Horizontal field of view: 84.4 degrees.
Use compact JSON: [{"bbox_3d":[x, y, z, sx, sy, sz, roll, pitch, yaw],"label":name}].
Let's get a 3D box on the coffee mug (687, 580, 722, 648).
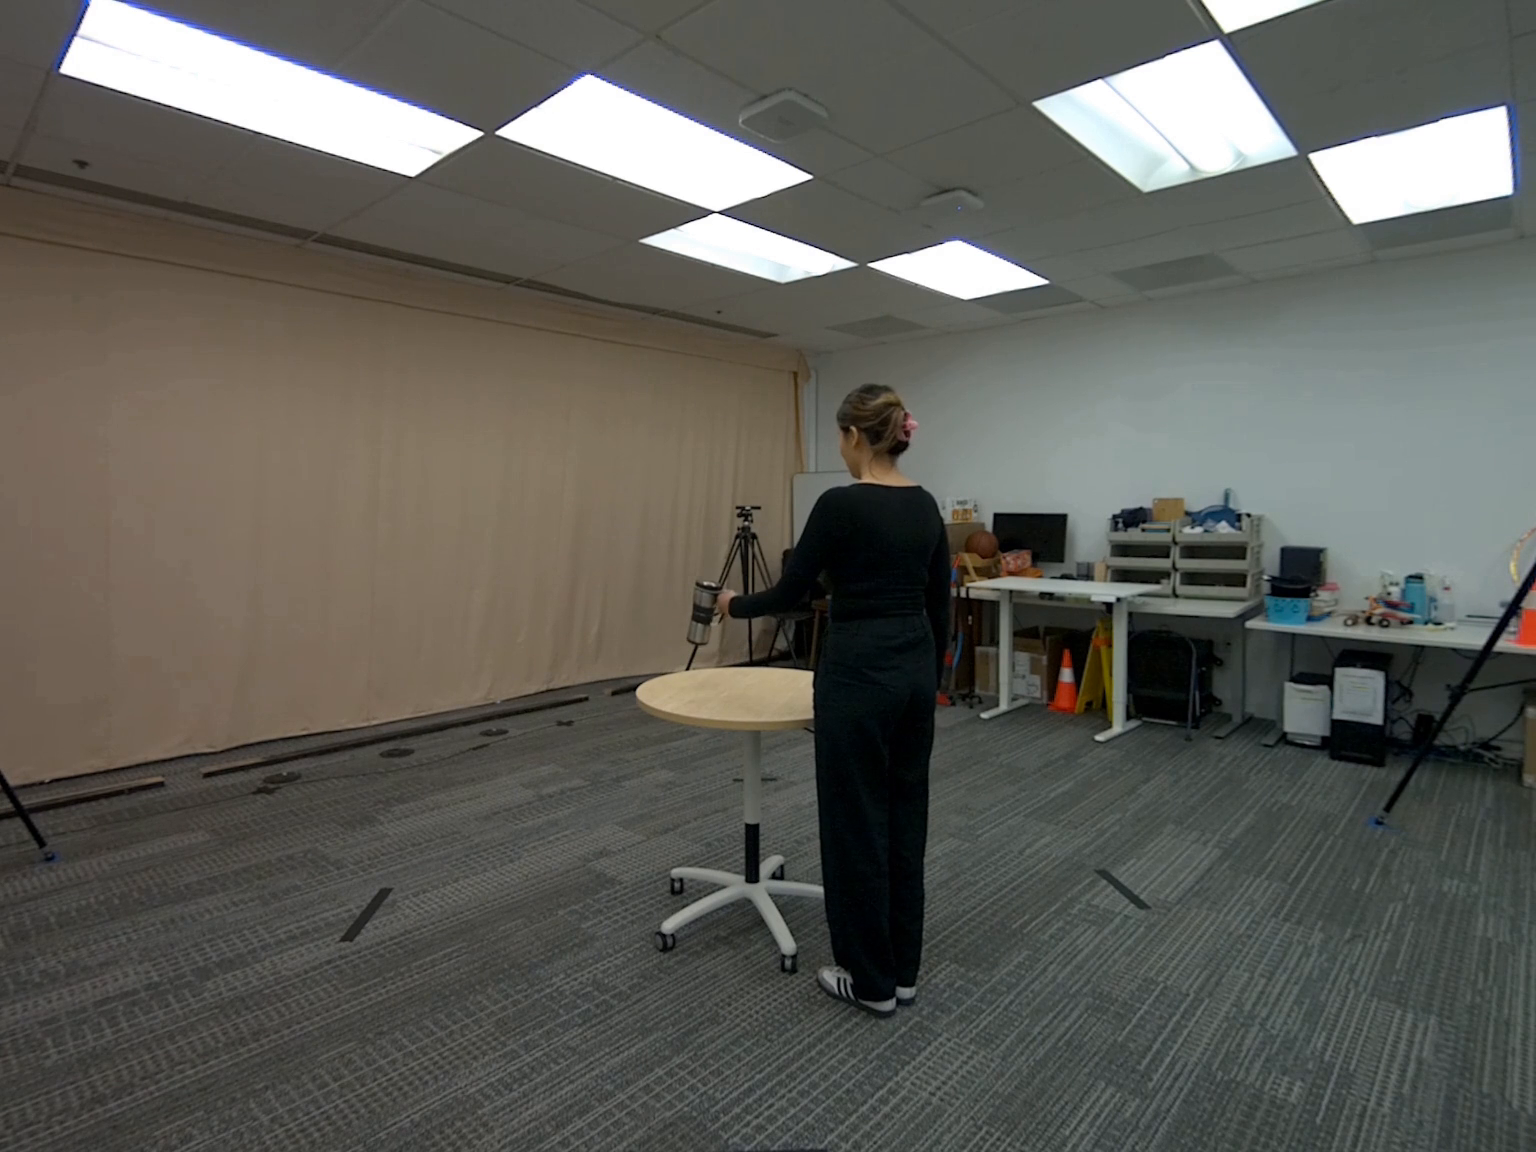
[{"bbox_3d":[-0.185,0.128,2.659,0.085,0.202,0.126,4,11,-37],"label":"coffee mug"}]
